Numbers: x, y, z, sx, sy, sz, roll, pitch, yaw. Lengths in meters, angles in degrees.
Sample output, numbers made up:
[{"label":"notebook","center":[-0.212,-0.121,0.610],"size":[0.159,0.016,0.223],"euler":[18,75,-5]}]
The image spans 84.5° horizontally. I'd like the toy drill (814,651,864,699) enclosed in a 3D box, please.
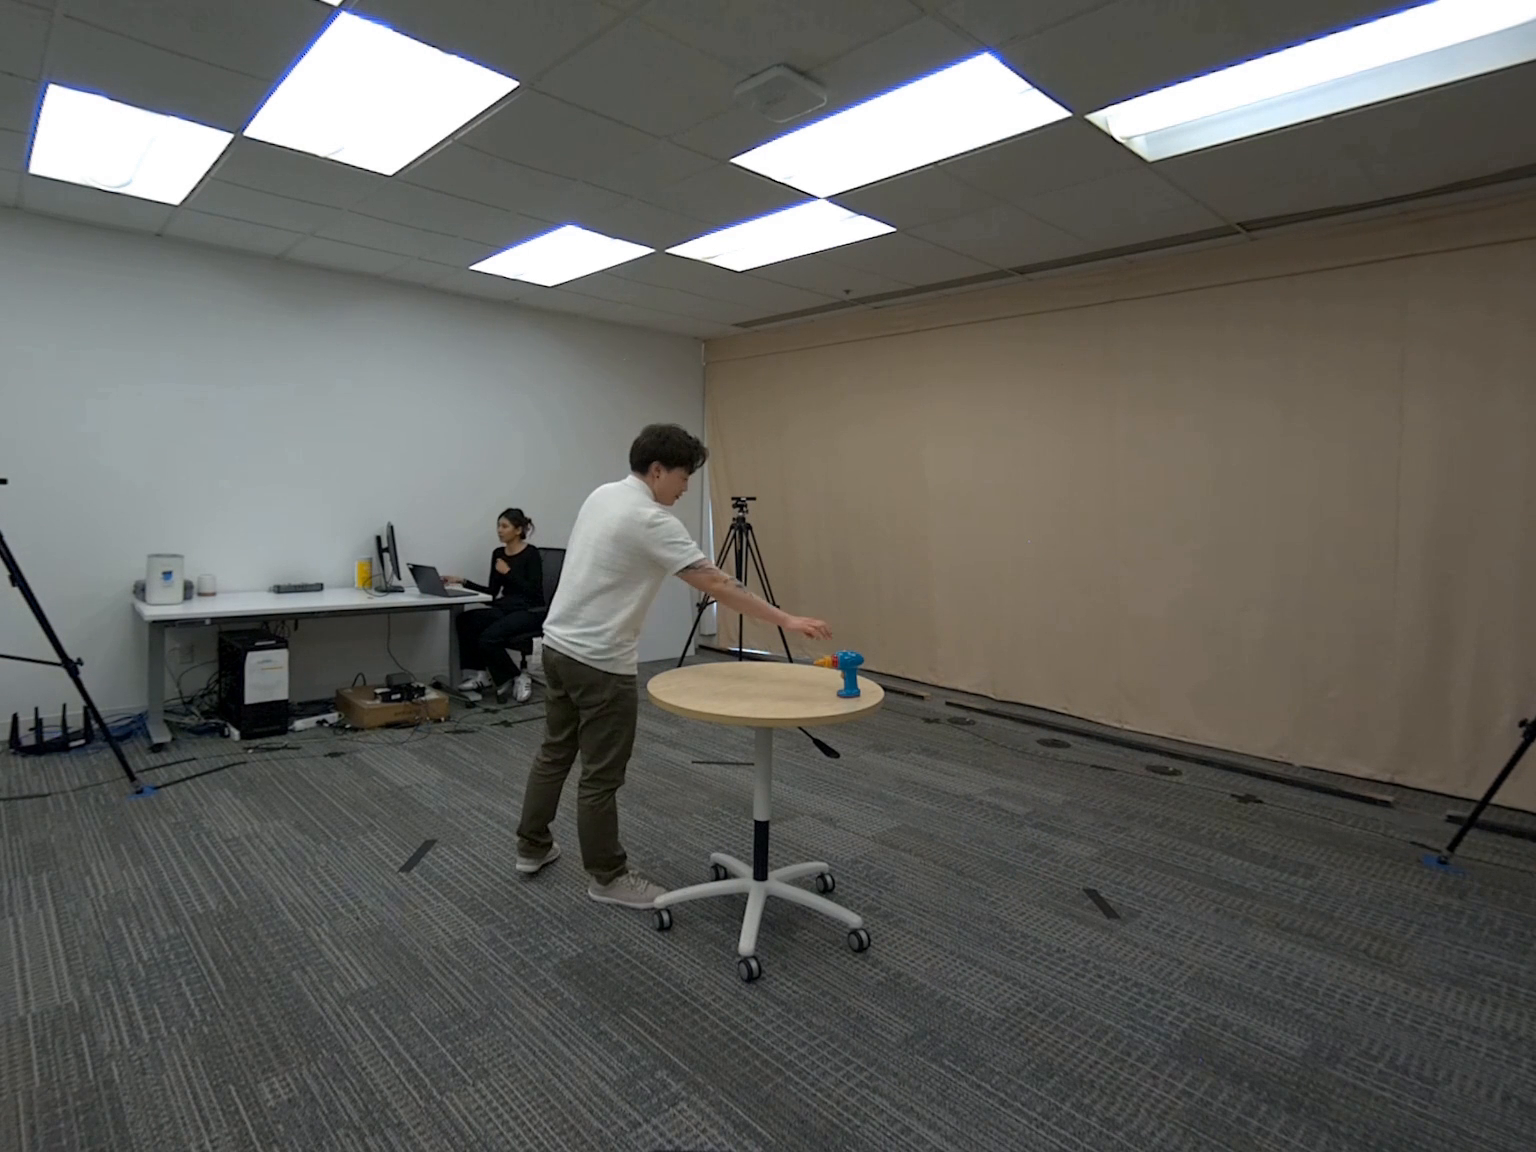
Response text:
[{"label":"toy drill","center":[0.211,0.303,2.610],"size":[0.167,0.146,0.062],"euler":[-1,3,-22]}]
